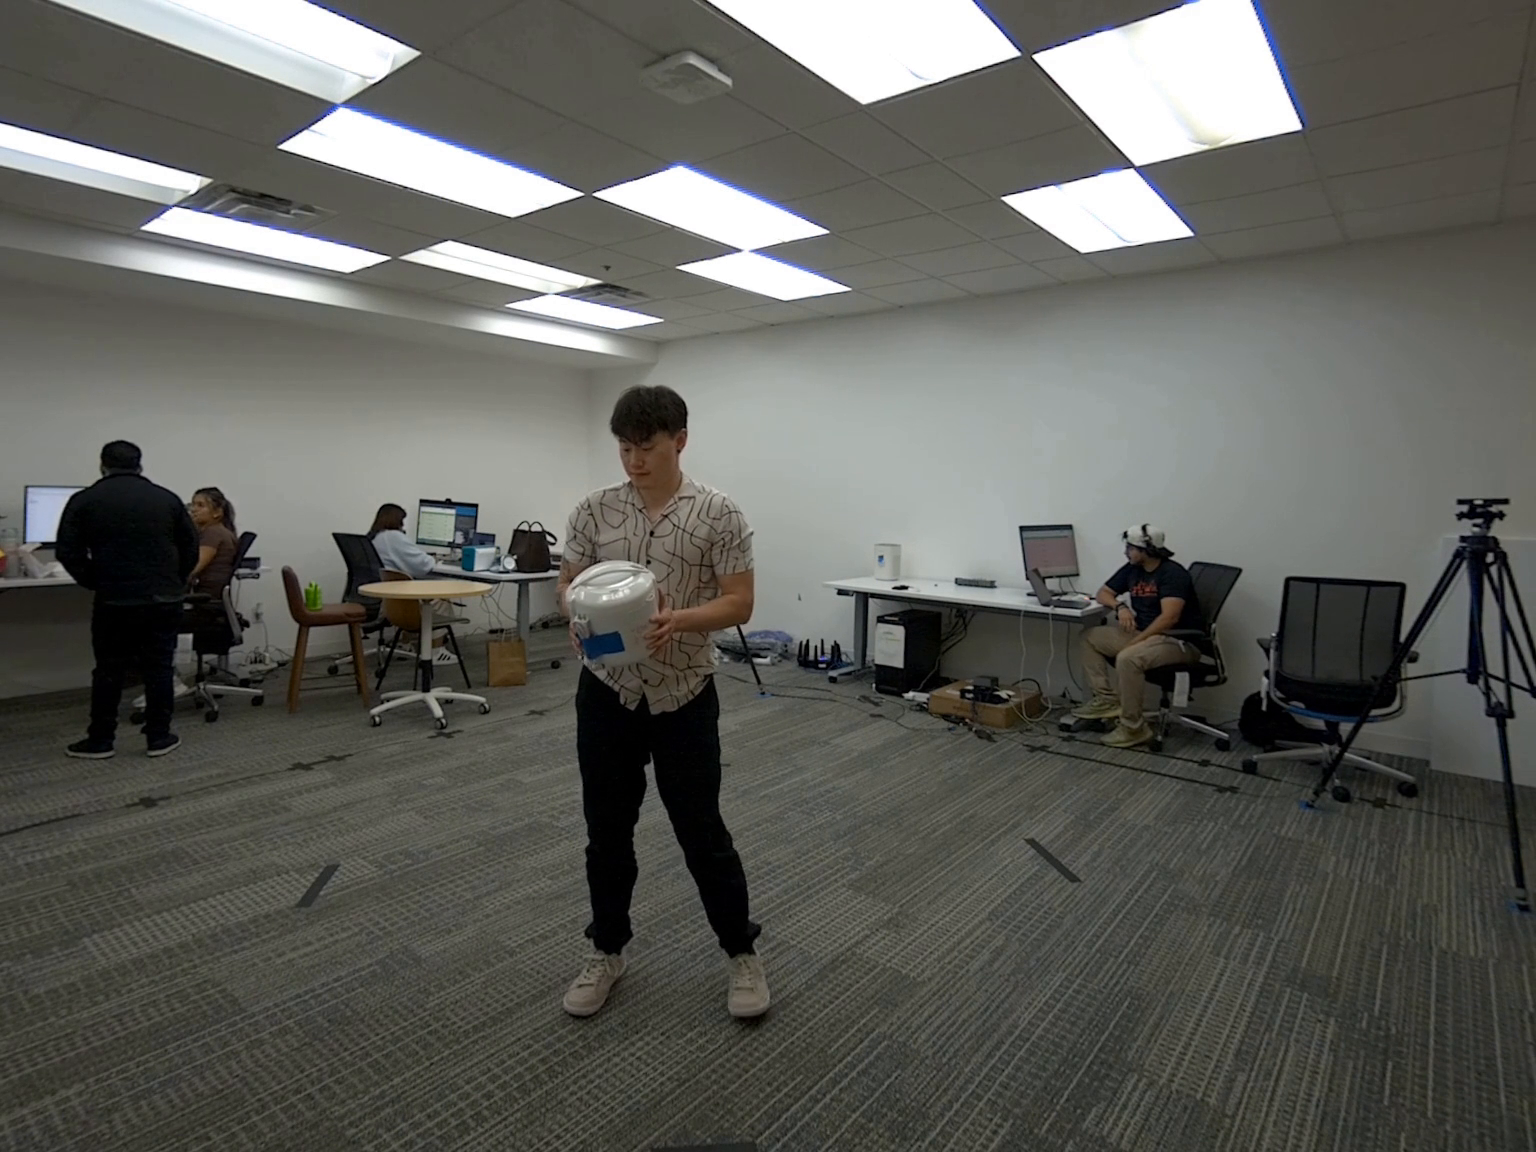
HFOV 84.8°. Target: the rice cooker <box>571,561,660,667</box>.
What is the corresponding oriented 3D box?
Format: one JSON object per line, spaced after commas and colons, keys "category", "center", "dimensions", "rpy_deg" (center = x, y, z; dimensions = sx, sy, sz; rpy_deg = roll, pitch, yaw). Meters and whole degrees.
{"category": "rice cooker", "center": [-0.364, 0.073, 2.082], "dimensions": [0.218, 0.227, 0.225], "rpy_deg": [-11, 28, -11]}
